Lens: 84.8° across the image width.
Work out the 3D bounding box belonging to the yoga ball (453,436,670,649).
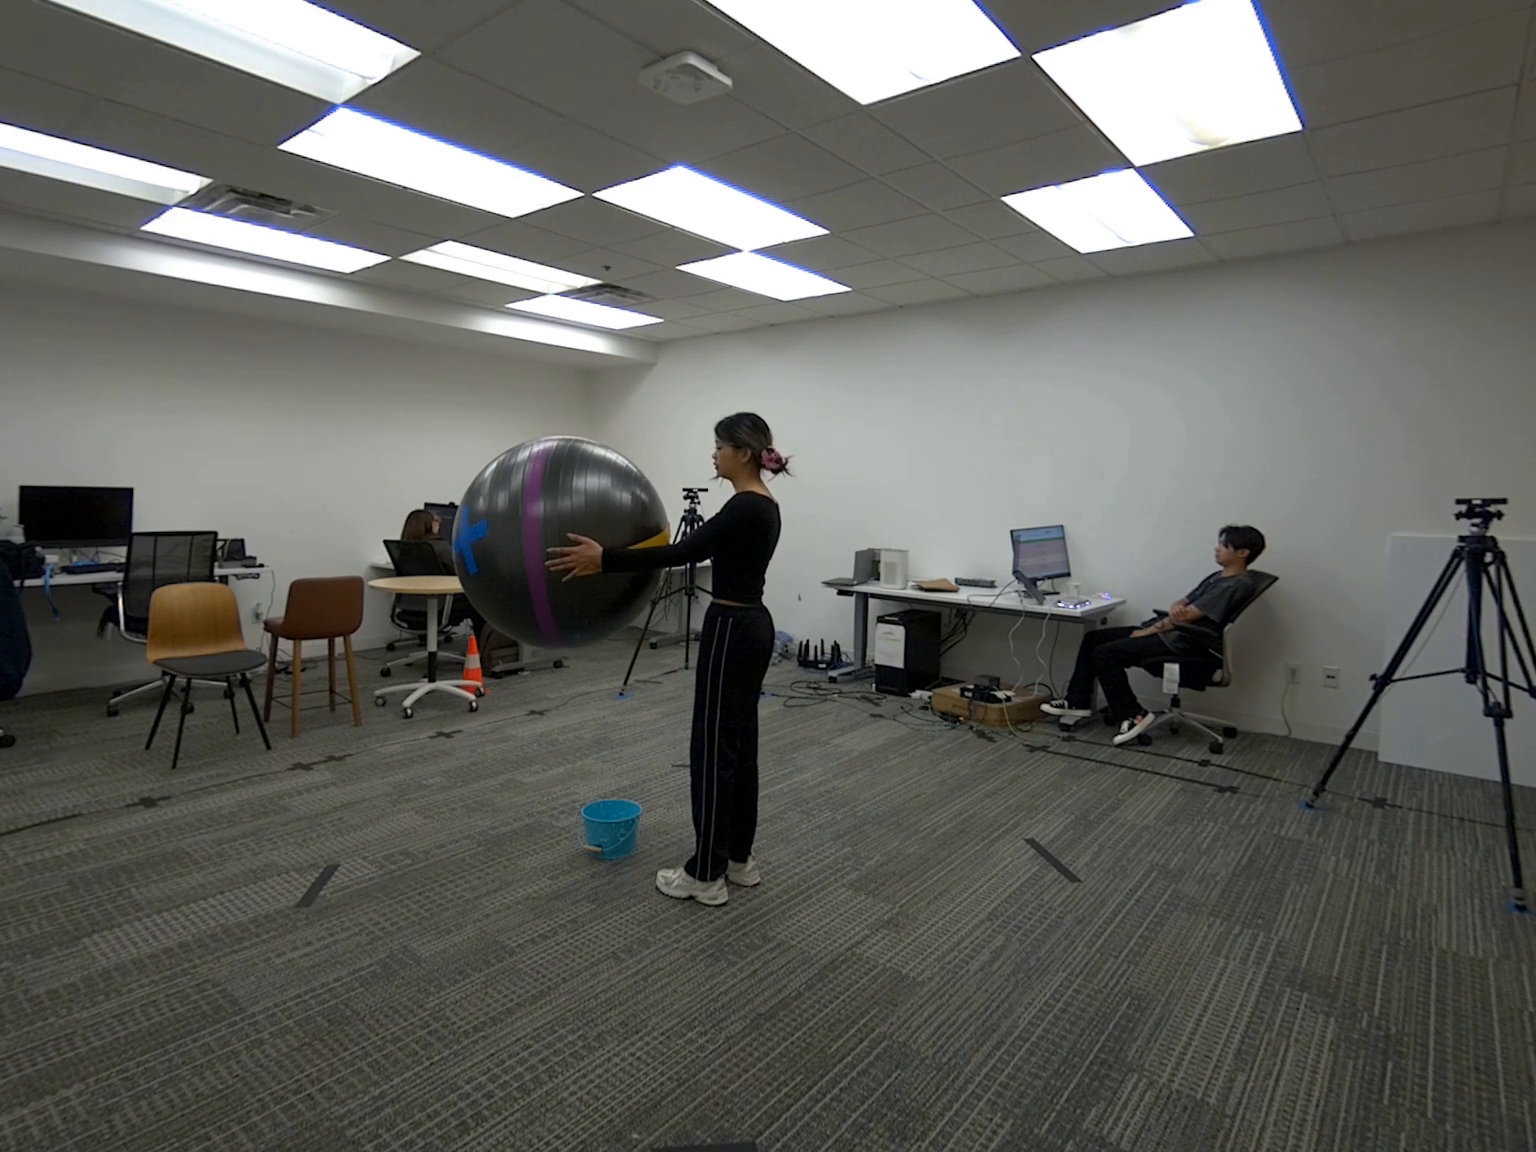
[{"bbox_3d":[-0.755,-0.112,3.031,0.757,0.755,0.762,1,4,-2],"label":"yoga ball"}]
